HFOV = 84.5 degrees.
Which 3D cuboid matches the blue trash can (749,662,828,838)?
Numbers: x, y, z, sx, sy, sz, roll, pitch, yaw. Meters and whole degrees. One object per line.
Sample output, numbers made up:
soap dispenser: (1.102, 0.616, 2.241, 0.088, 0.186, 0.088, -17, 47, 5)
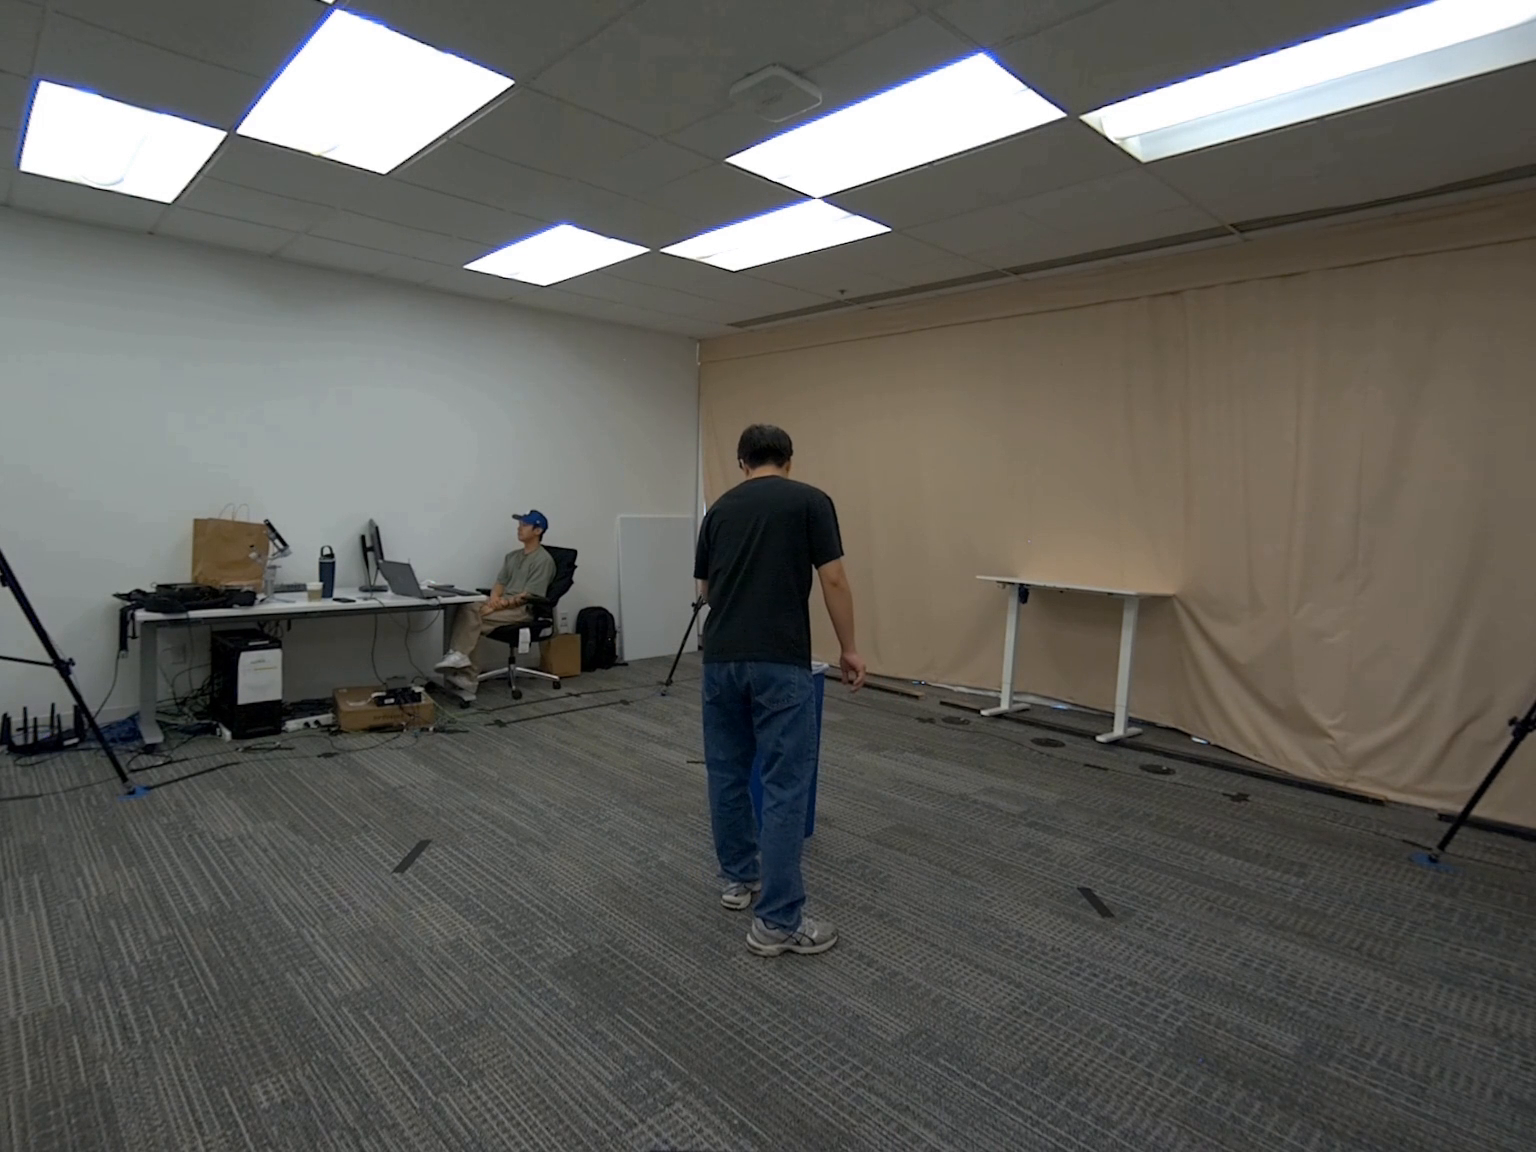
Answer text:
blue trash can: (-0.004, 0.722, 3.508, 0.388, 0.712, 0.365, 5, 4, 42)
